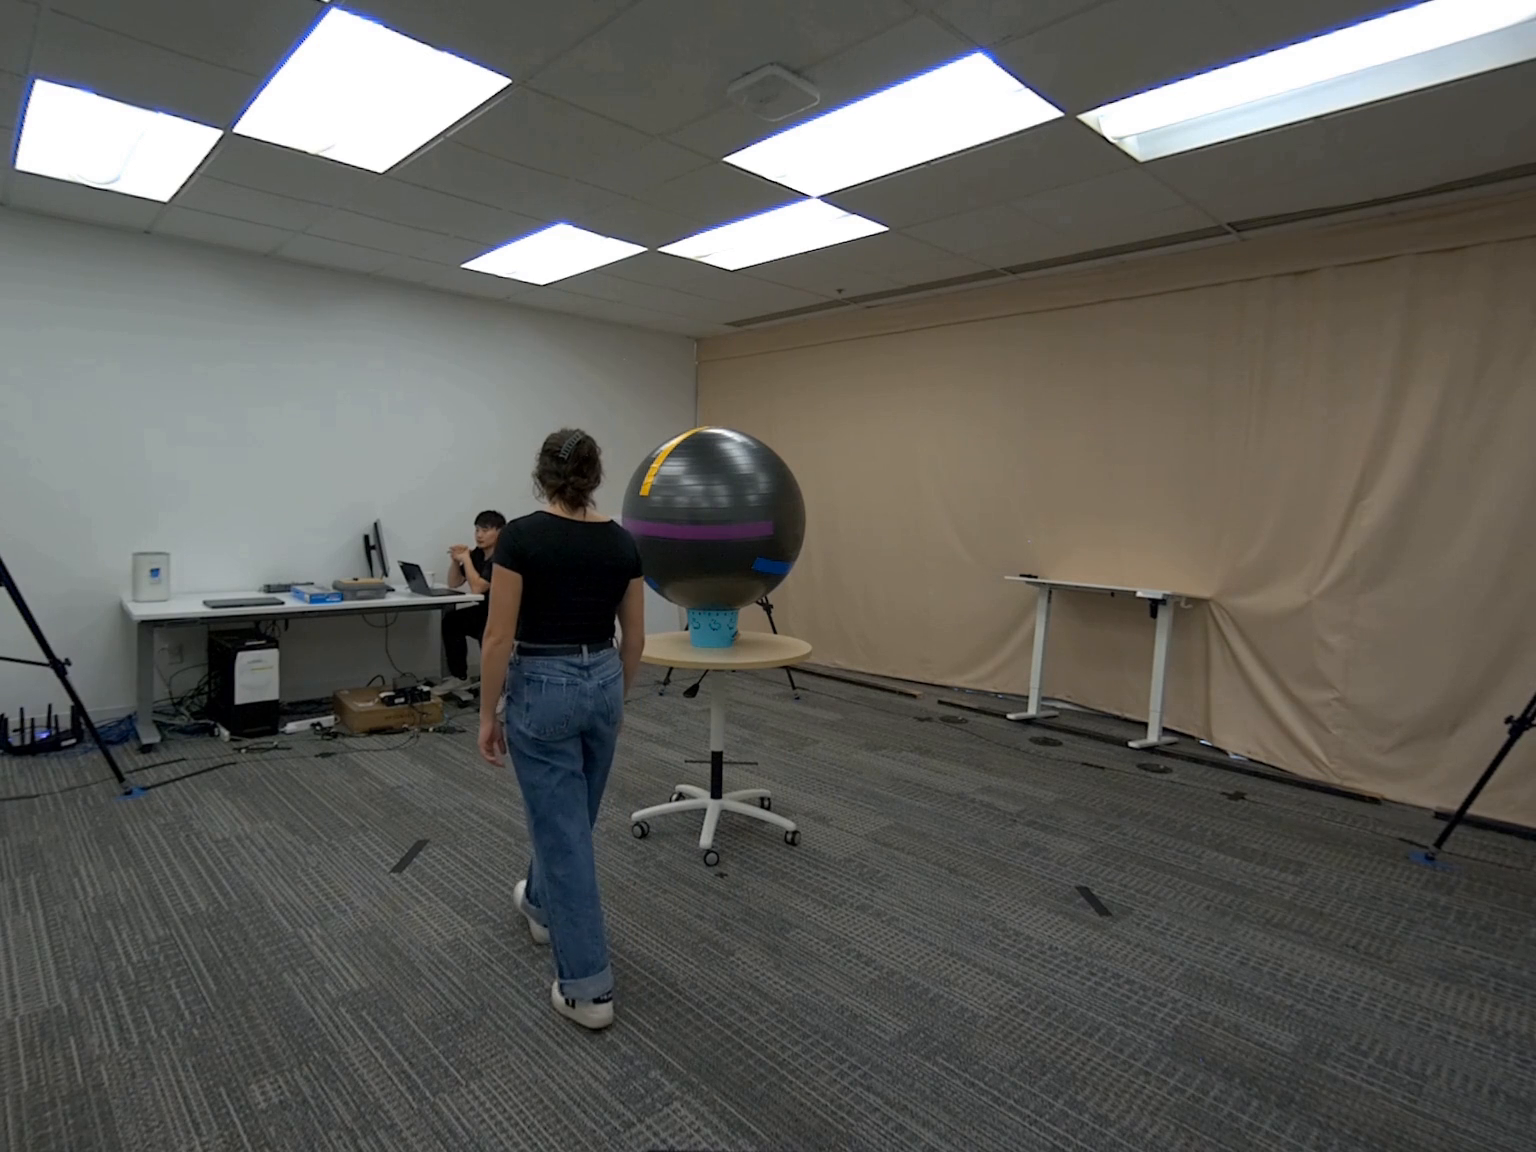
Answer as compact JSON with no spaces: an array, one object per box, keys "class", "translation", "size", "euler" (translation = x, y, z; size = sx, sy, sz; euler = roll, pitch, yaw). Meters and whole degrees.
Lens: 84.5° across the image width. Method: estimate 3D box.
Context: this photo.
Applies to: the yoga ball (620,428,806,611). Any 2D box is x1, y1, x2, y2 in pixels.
[{"class":"yoga ball","translation":[-0.225,-0.228,3.492],"size":[0.757,0.756,0.761],"euler":[1,4,-1]}]
